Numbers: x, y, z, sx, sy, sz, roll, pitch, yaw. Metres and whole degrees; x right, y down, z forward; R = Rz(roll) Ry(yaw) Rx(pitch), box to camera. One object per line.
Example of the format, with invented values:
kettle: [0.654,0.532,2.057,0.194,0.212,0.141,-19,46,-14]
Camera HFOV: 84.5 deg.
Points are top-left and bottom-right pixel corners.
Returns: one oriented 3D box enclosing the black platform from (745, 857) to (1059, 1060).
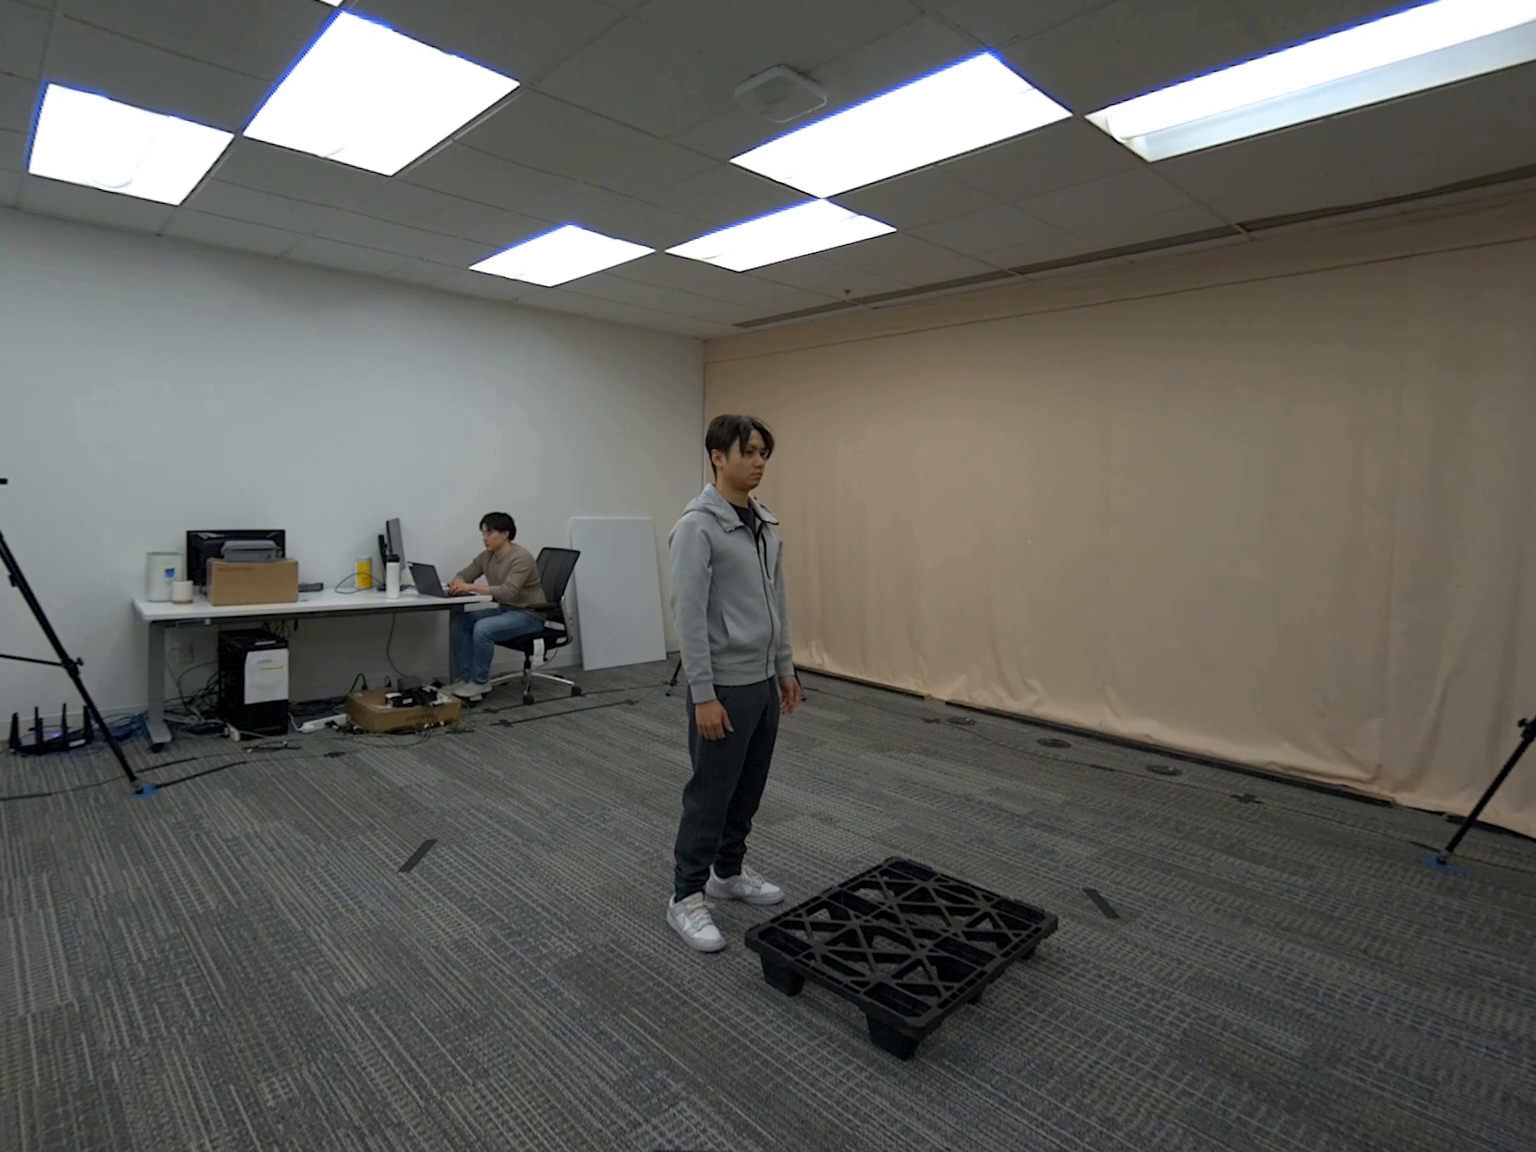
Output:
black platform: [0.396,1.107,2.519,0.621,0.143,0.787,6,7,43]
